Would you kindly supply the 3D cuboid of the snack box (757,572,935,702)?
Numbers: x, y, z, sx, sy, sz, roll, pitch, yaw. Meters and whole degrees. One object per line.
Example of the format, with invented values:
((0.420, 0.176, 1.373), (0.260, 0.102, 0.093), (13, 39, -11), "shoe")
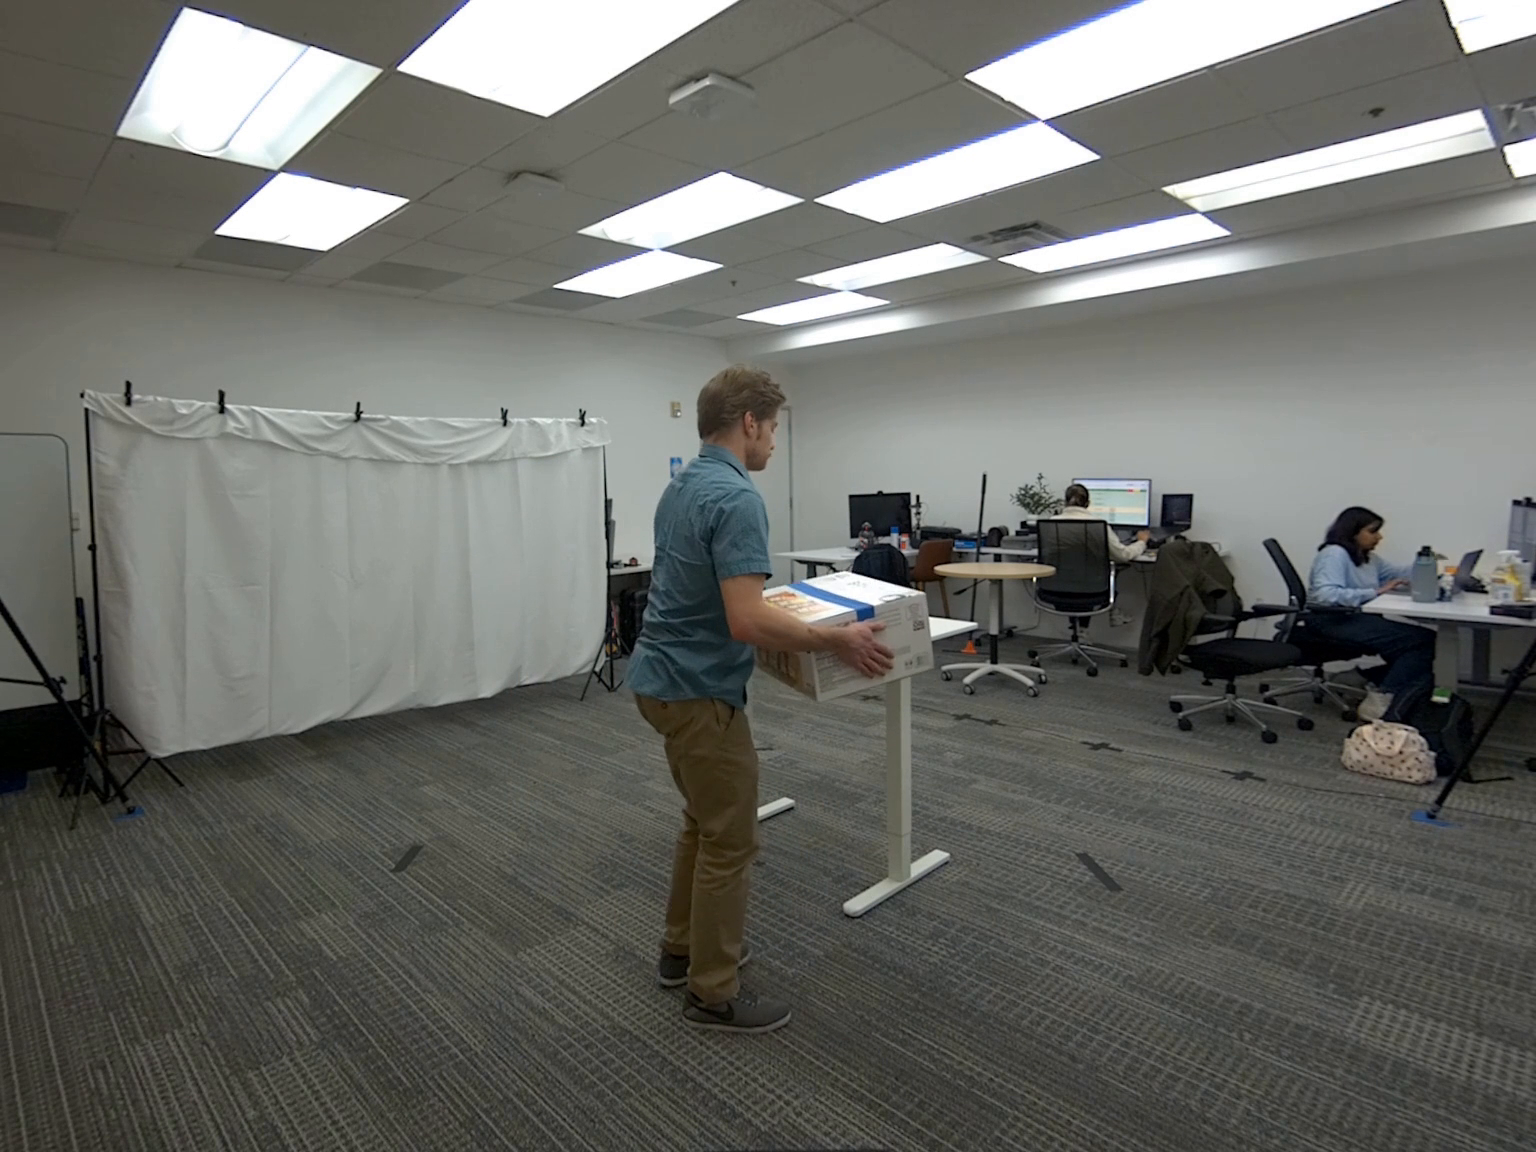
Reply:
((0.172, 0.147, 2.279), (0.335, 0.203, 0.416), (-12, 12, -21), "snack box")
